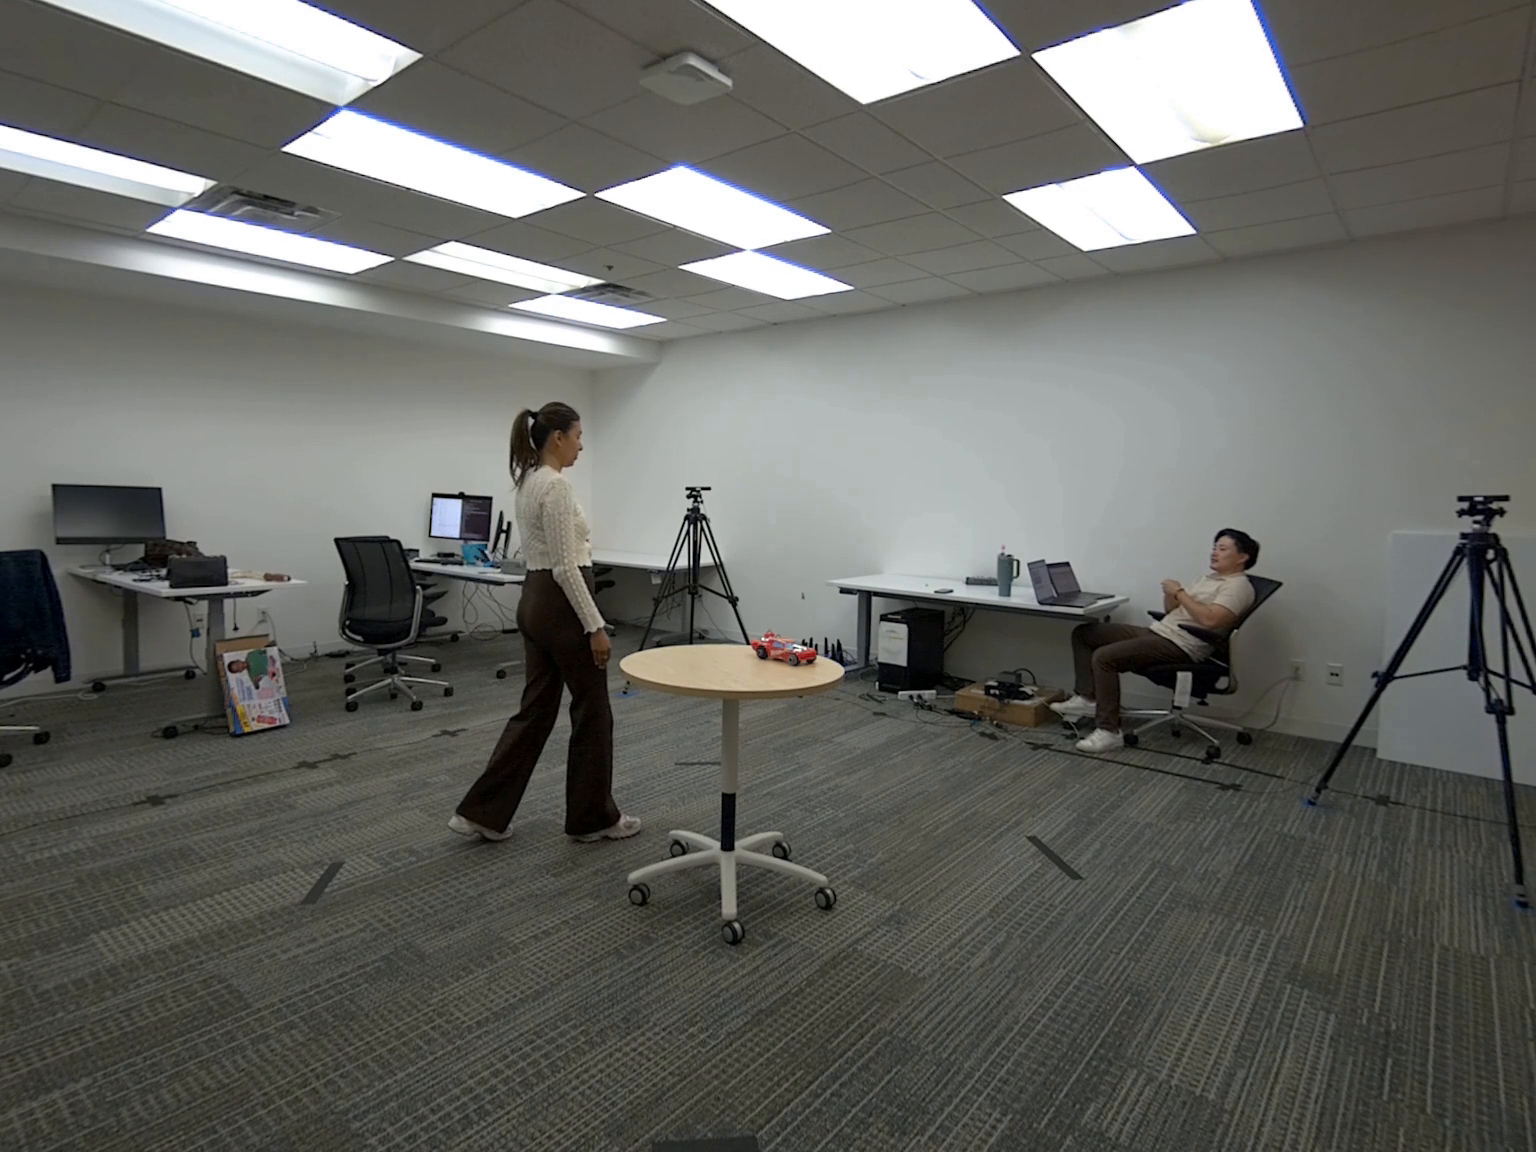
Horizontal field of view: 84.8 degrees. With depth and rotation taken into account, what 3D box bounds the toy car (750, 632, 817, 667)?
[{"bbox_3d":[0.043,0.264,3.028,0.265,0.082,0.126,21,16,42],"label":"toy car"}]
